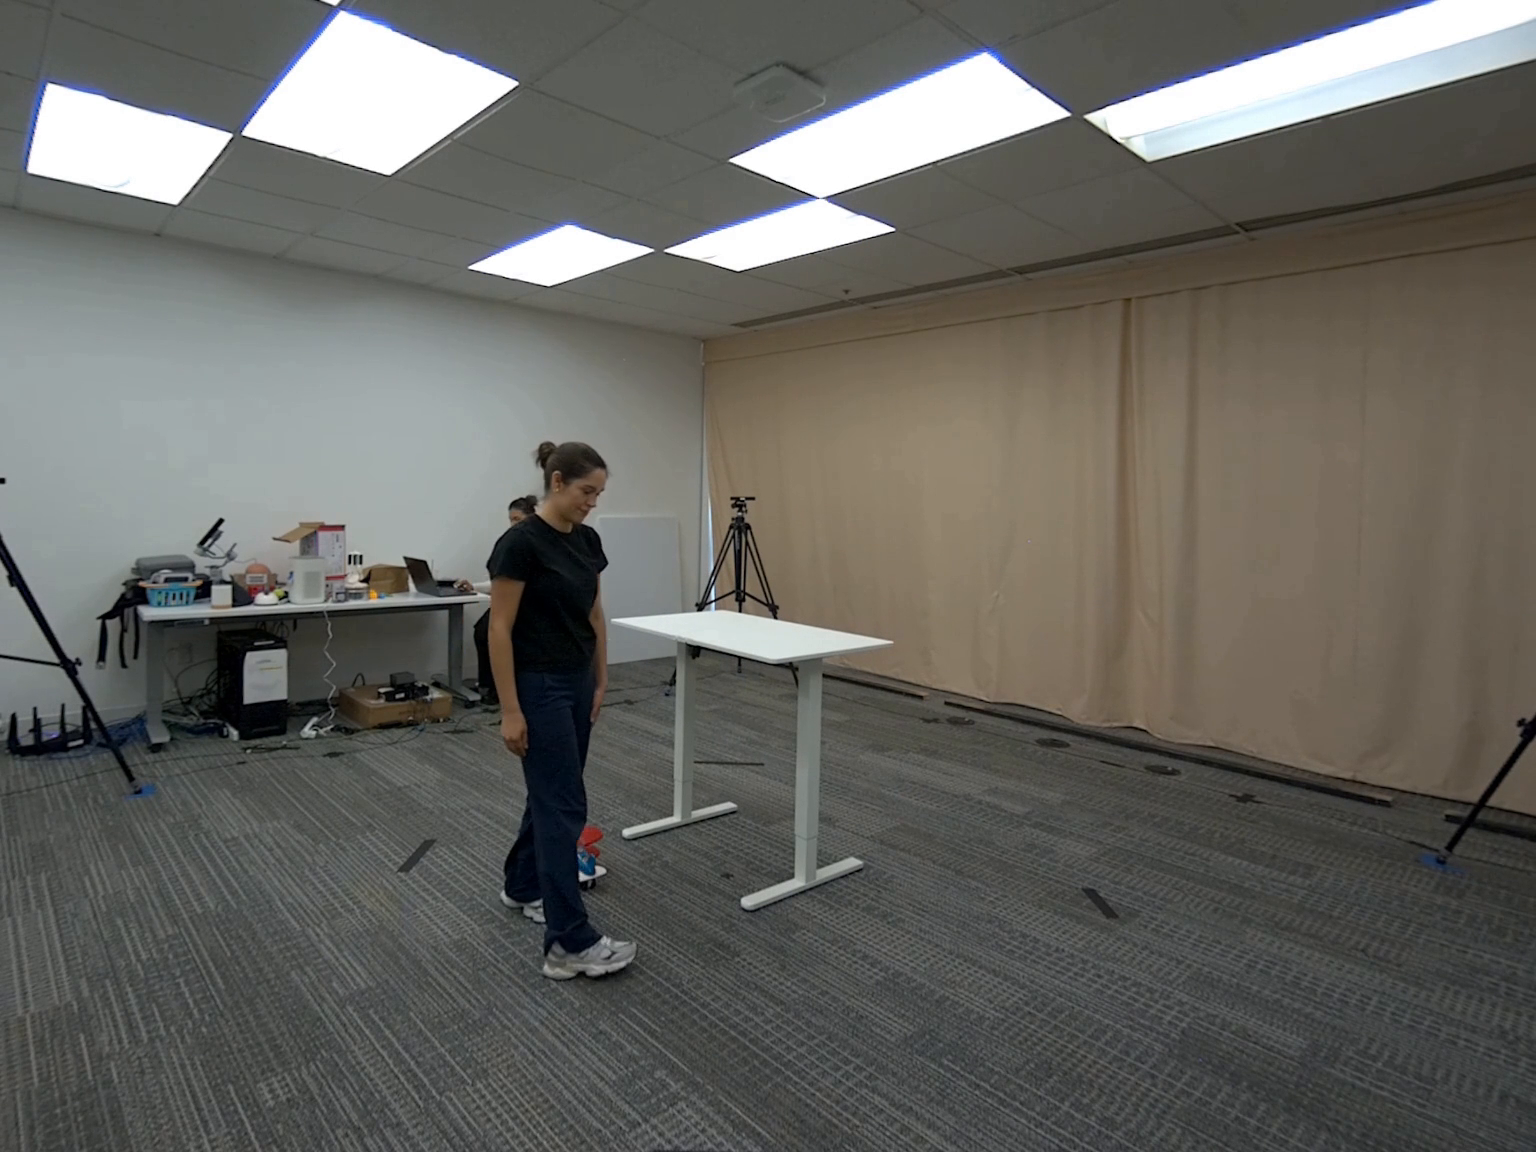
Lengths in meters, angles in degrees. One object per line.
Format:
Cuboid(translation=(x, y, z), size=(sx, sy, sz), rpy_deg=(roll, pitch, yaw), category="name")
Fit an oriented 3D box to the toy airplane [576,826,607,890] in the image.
Cuboid(translation=(-0.693, 1.028, 3.040), size=(0.263, 0.156, 0.248), rpy_deg=(2, 4, 18), category="toy airplane")
